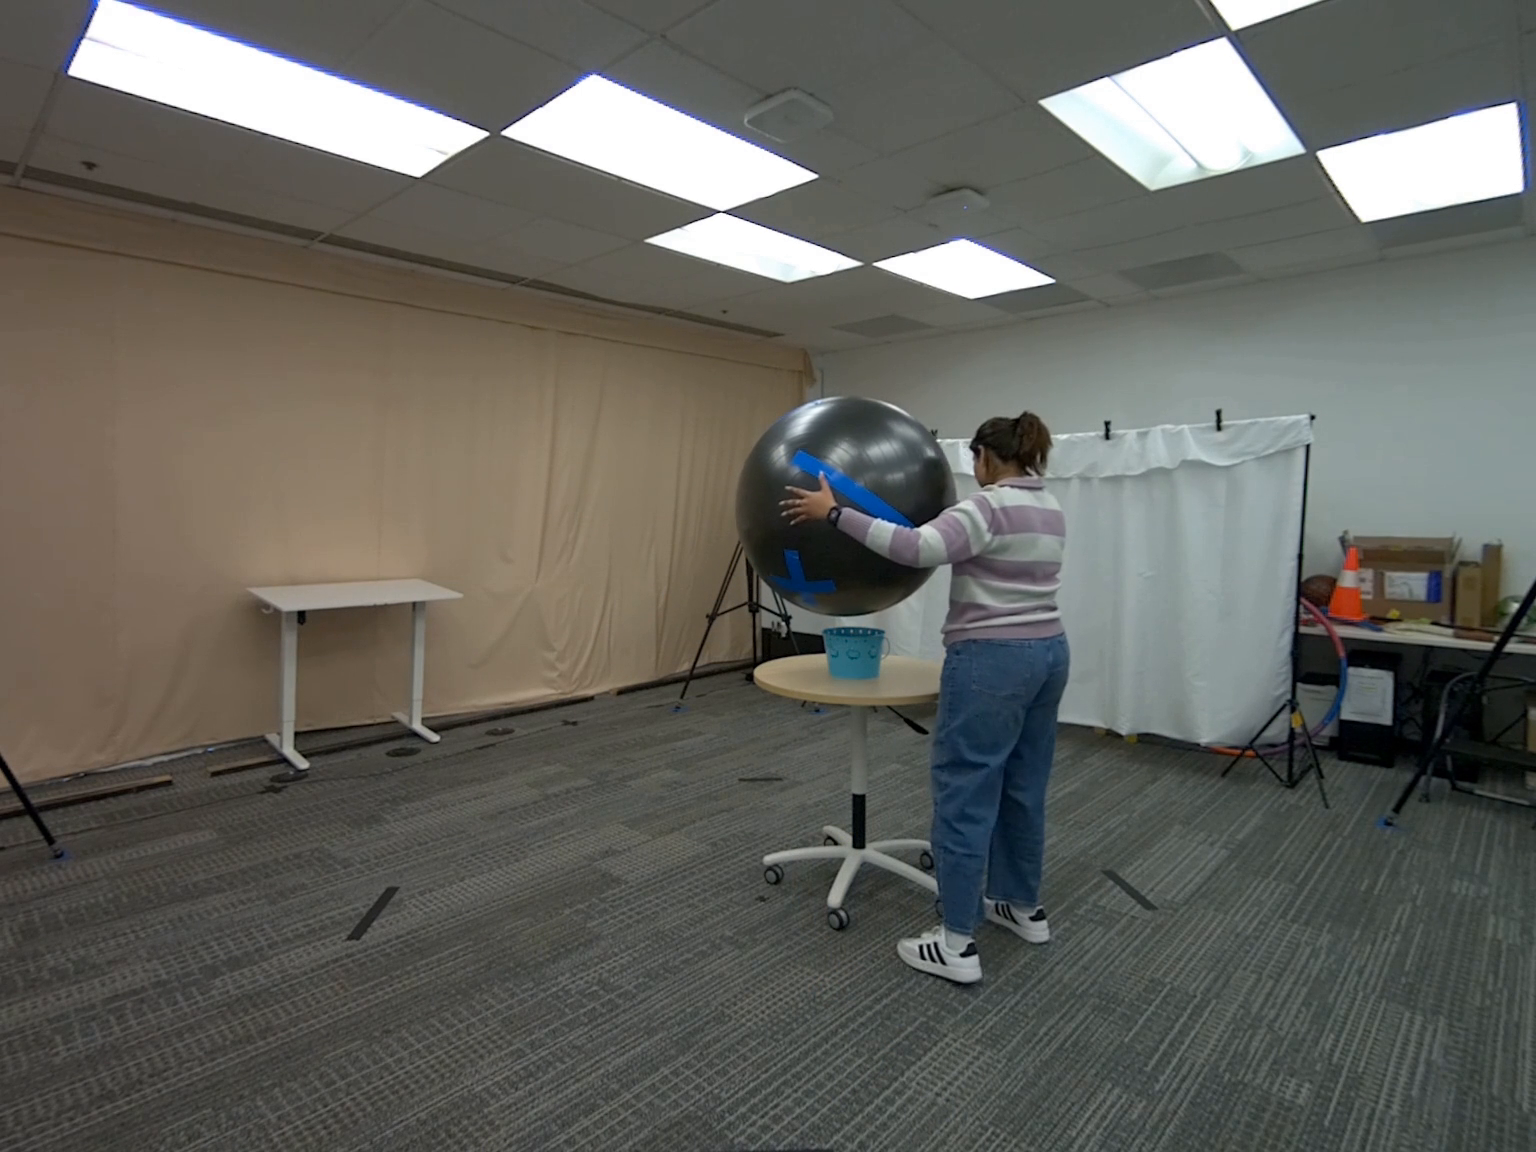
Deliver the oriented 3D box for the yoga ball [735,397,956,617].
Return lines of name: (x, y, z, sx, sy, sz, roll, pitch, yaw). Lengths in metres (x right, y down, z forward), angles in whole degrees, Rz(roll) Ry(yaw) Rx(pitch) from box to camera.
yoga ball: (0.260, -0.234, 2.929, 0.757, 0.756, 0.760, 0, 4, -2)
